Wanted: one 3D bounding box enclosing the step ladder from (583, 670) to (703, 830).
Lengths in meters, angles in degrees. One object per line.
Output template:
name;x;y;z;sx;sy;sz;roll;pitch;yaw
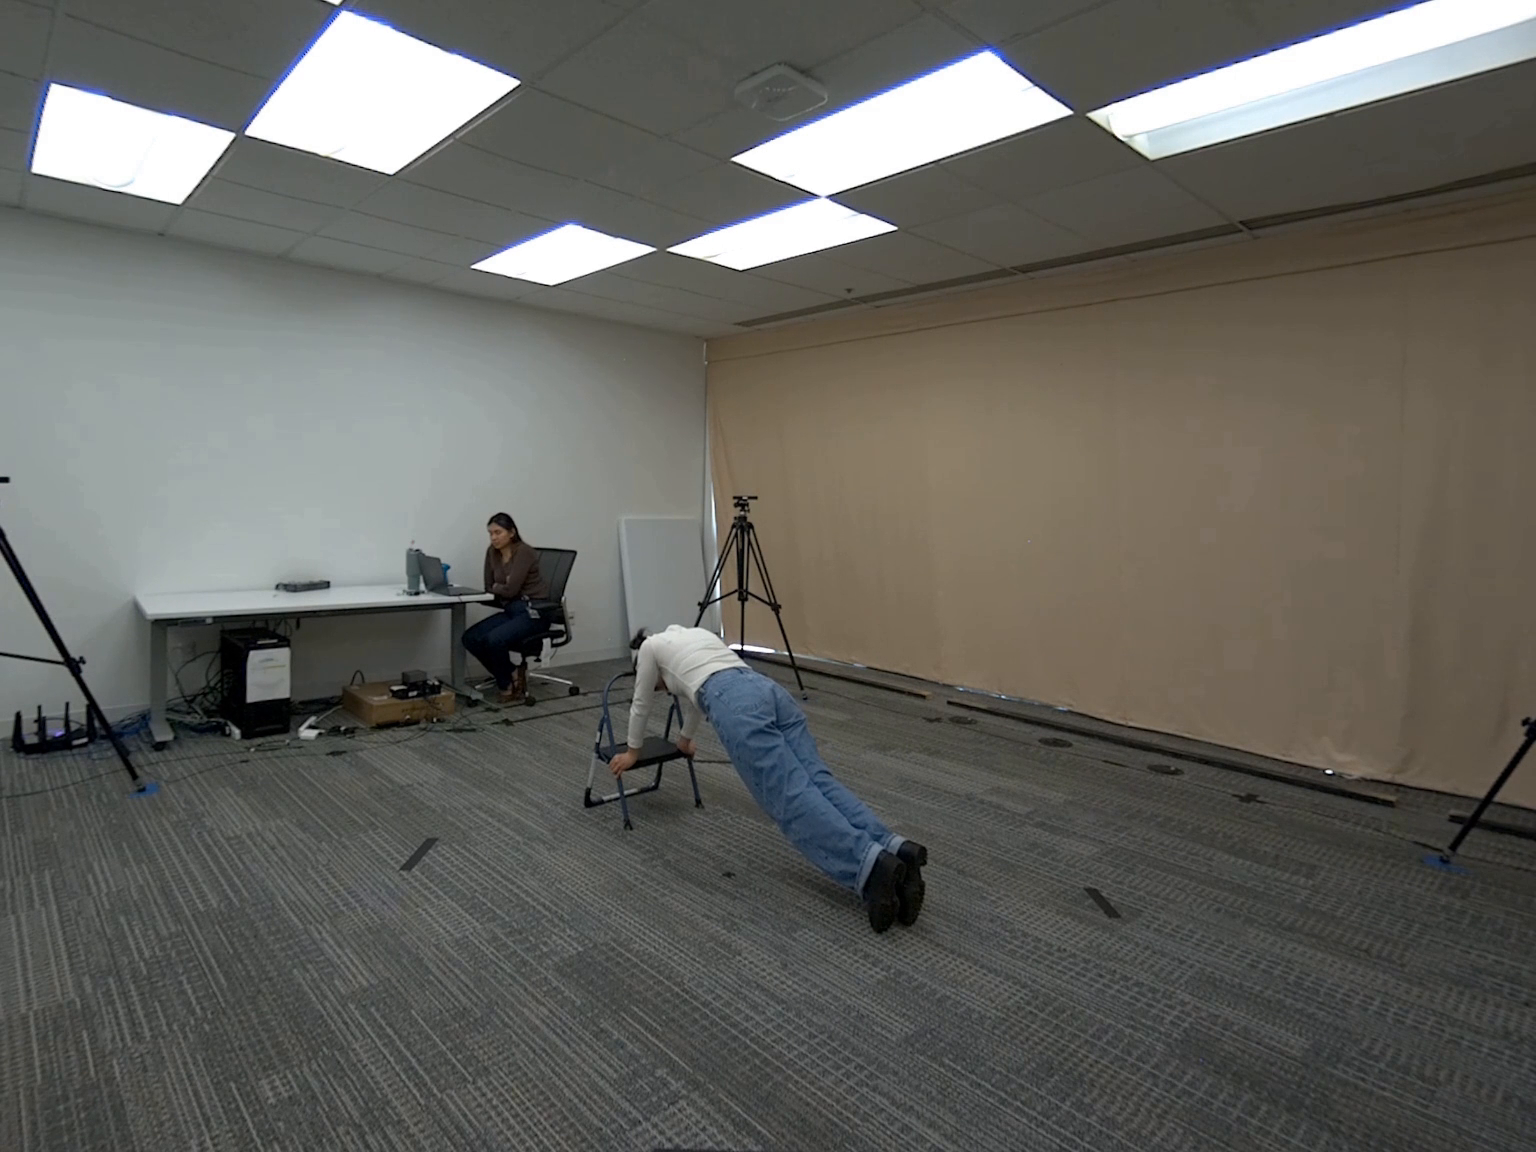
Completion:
step ladder;-0.558;0.736;3.754;0.358;0.605;0.421;5;5;45
